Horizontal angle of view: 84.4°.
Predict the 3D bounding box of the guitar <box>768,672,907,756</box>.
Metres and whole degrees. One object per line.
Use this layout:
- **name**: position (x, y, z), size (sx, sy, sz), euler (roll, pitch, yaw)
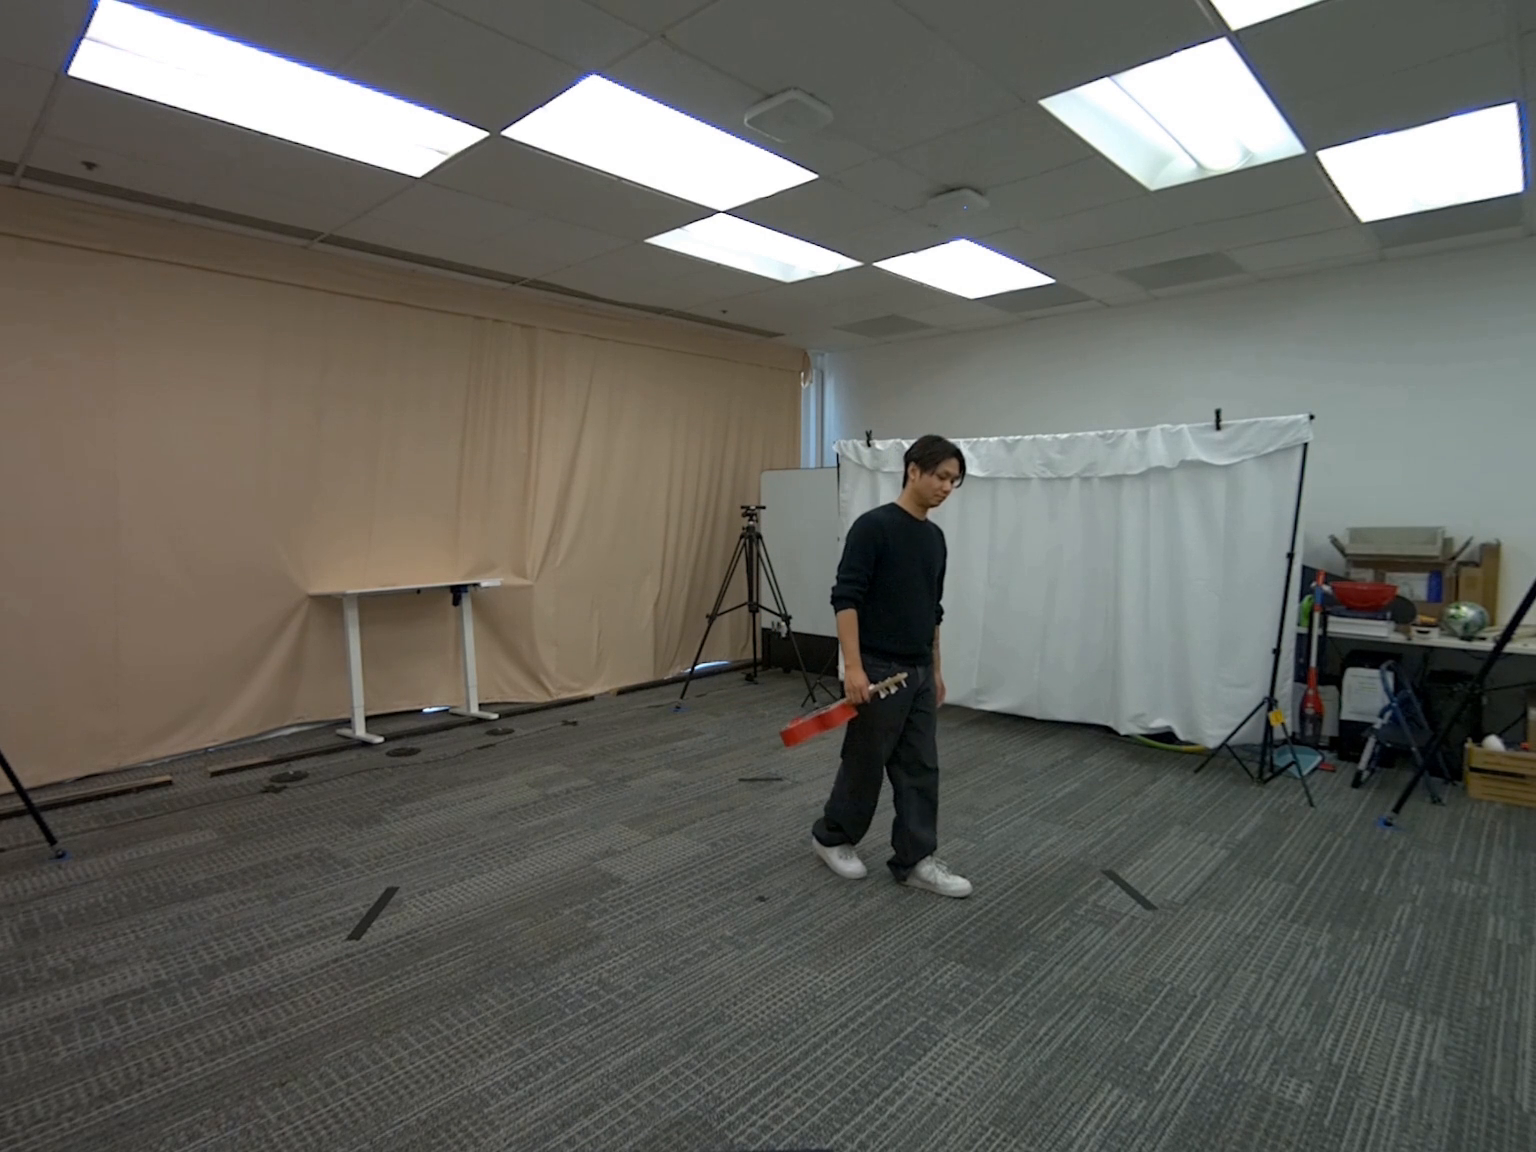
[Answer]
- **guitar**: position (0.245, 0.459, 2.827), size (0.506, 0.071, 0.188), euler (-30, -7, 36)
